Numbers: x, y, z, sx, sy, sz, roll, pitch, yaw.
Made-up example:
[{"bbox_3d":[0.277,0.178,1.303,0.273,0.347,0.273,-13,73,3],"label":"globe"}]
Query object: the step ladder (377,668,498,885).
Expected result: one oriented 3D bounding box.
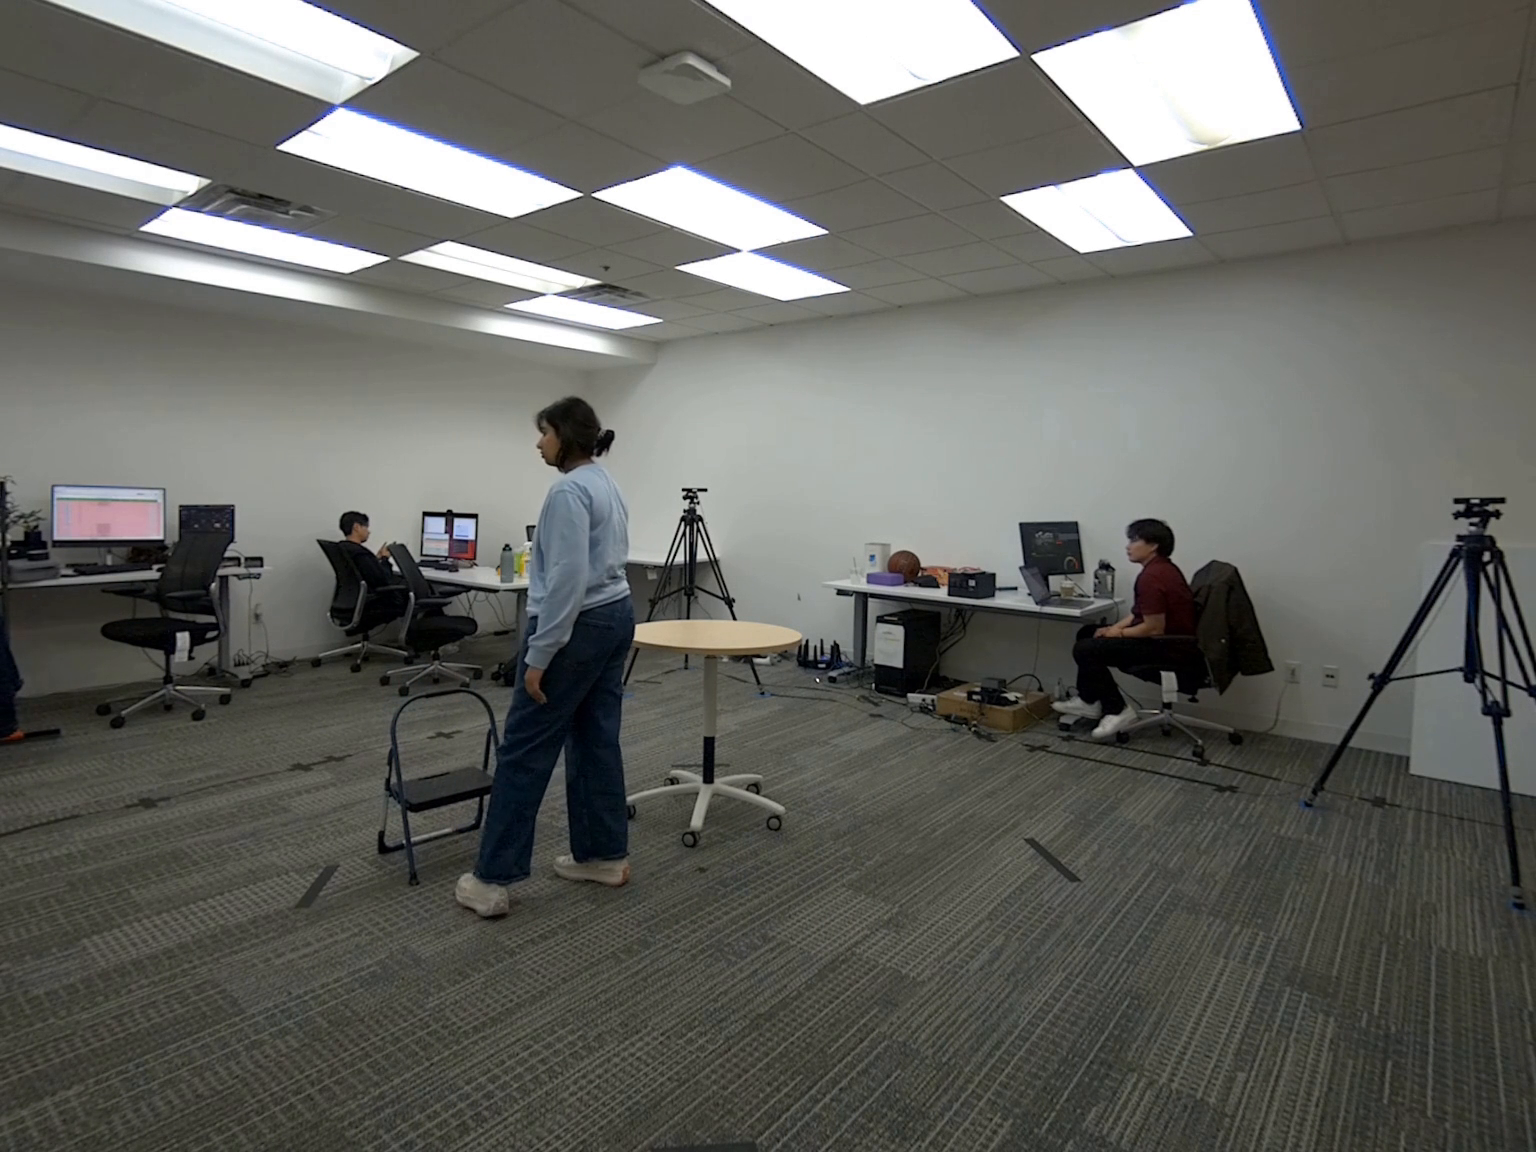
[{"bbox_3d":[-1.220,0.744,3.202,0.418,0.604,0.361,-3,5,-44],"label":"step ladder"}]
